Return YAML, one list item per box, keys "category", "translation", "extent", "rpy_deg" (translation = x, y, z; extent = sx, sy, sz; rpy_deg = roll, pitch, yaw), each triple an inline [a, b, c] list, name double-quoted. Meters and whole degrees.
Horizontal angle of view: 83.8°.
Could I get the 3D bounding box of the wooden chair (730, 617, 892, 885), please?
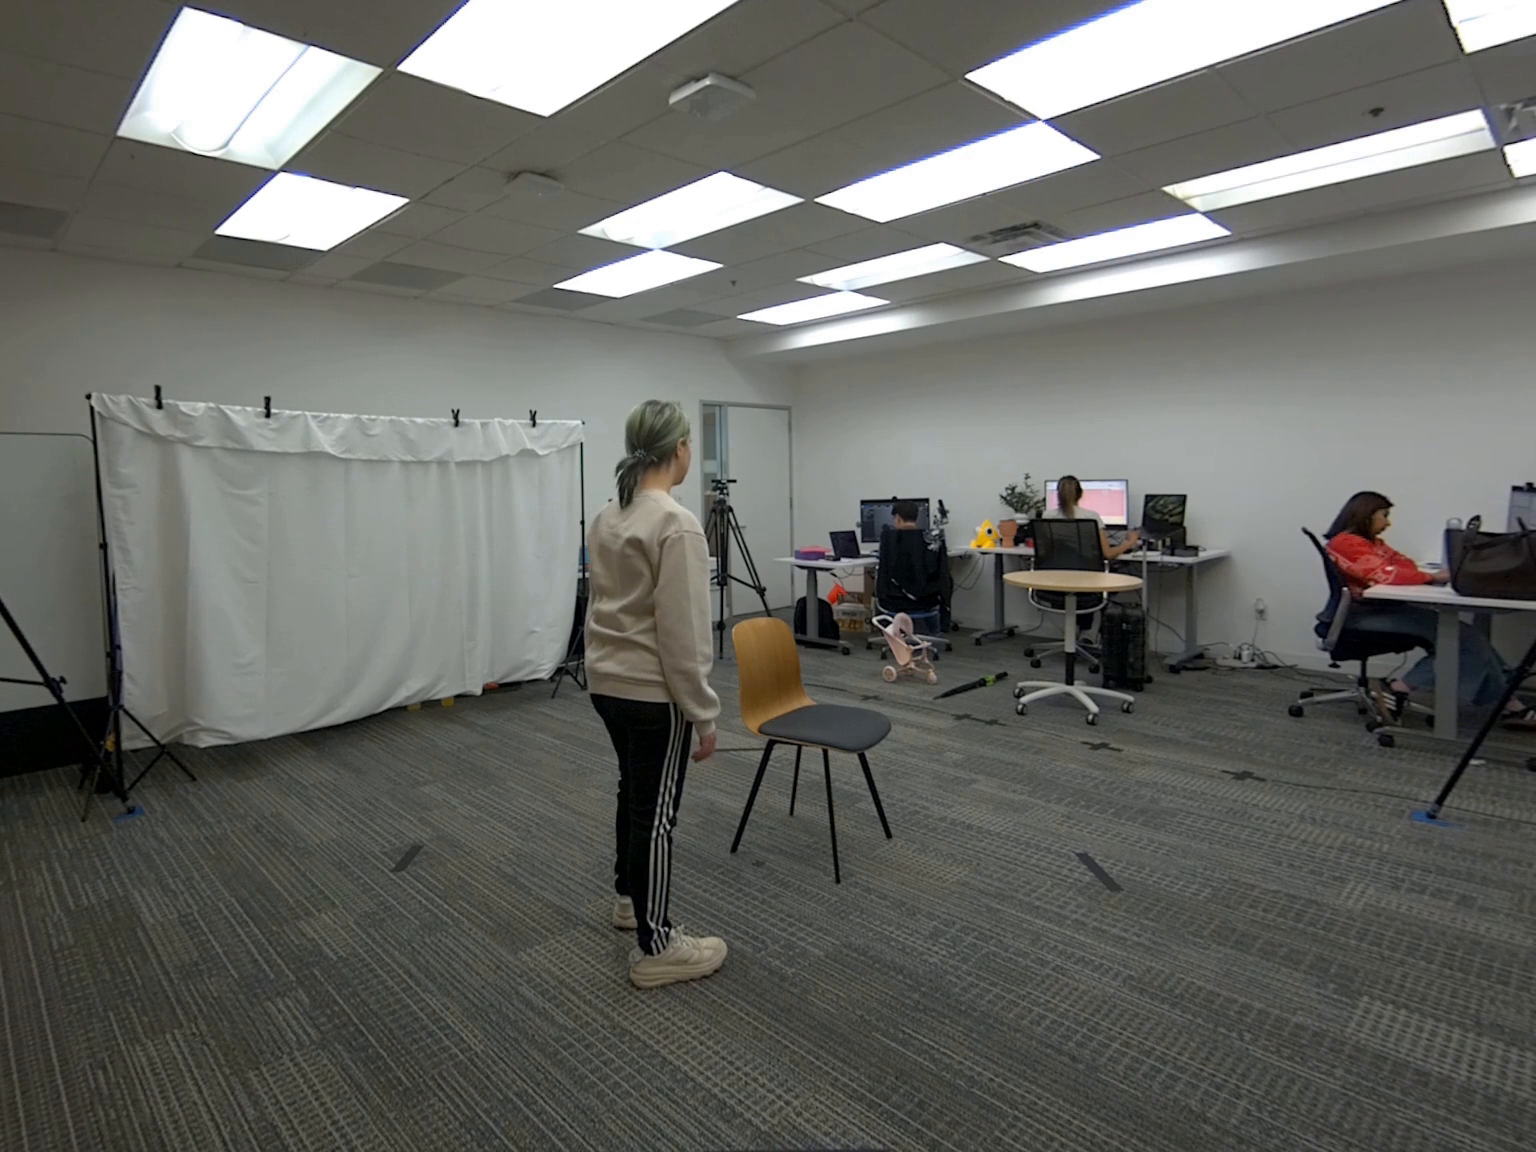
- category: "wooden chair"
  translation: [0.172, 0.602, 3.219]
  extent: [0.537, 0.876, 0.466]
  rpy_deg: [-3, 2, 34]
